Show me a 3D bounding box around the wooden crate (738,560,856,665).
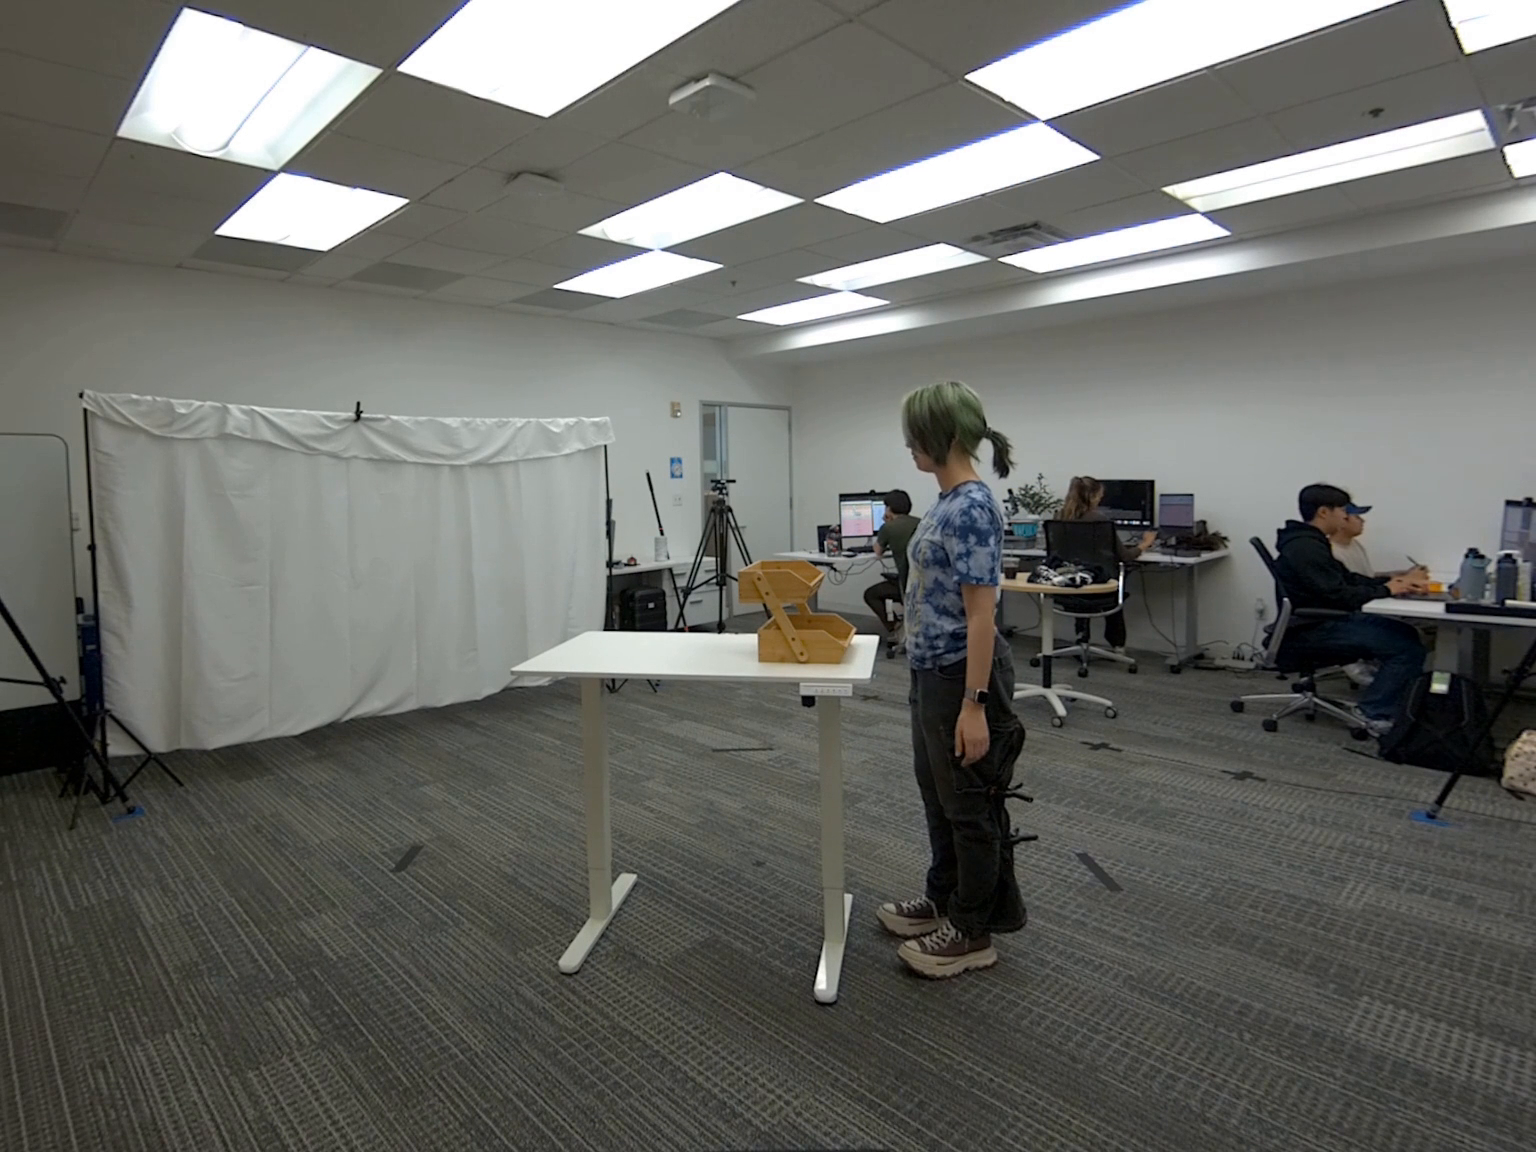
[{"bbox_3d":[0.103,0.094,2.515,0.306,0.272,0.322,-2,5,12],"label":"wooden crate"}]
